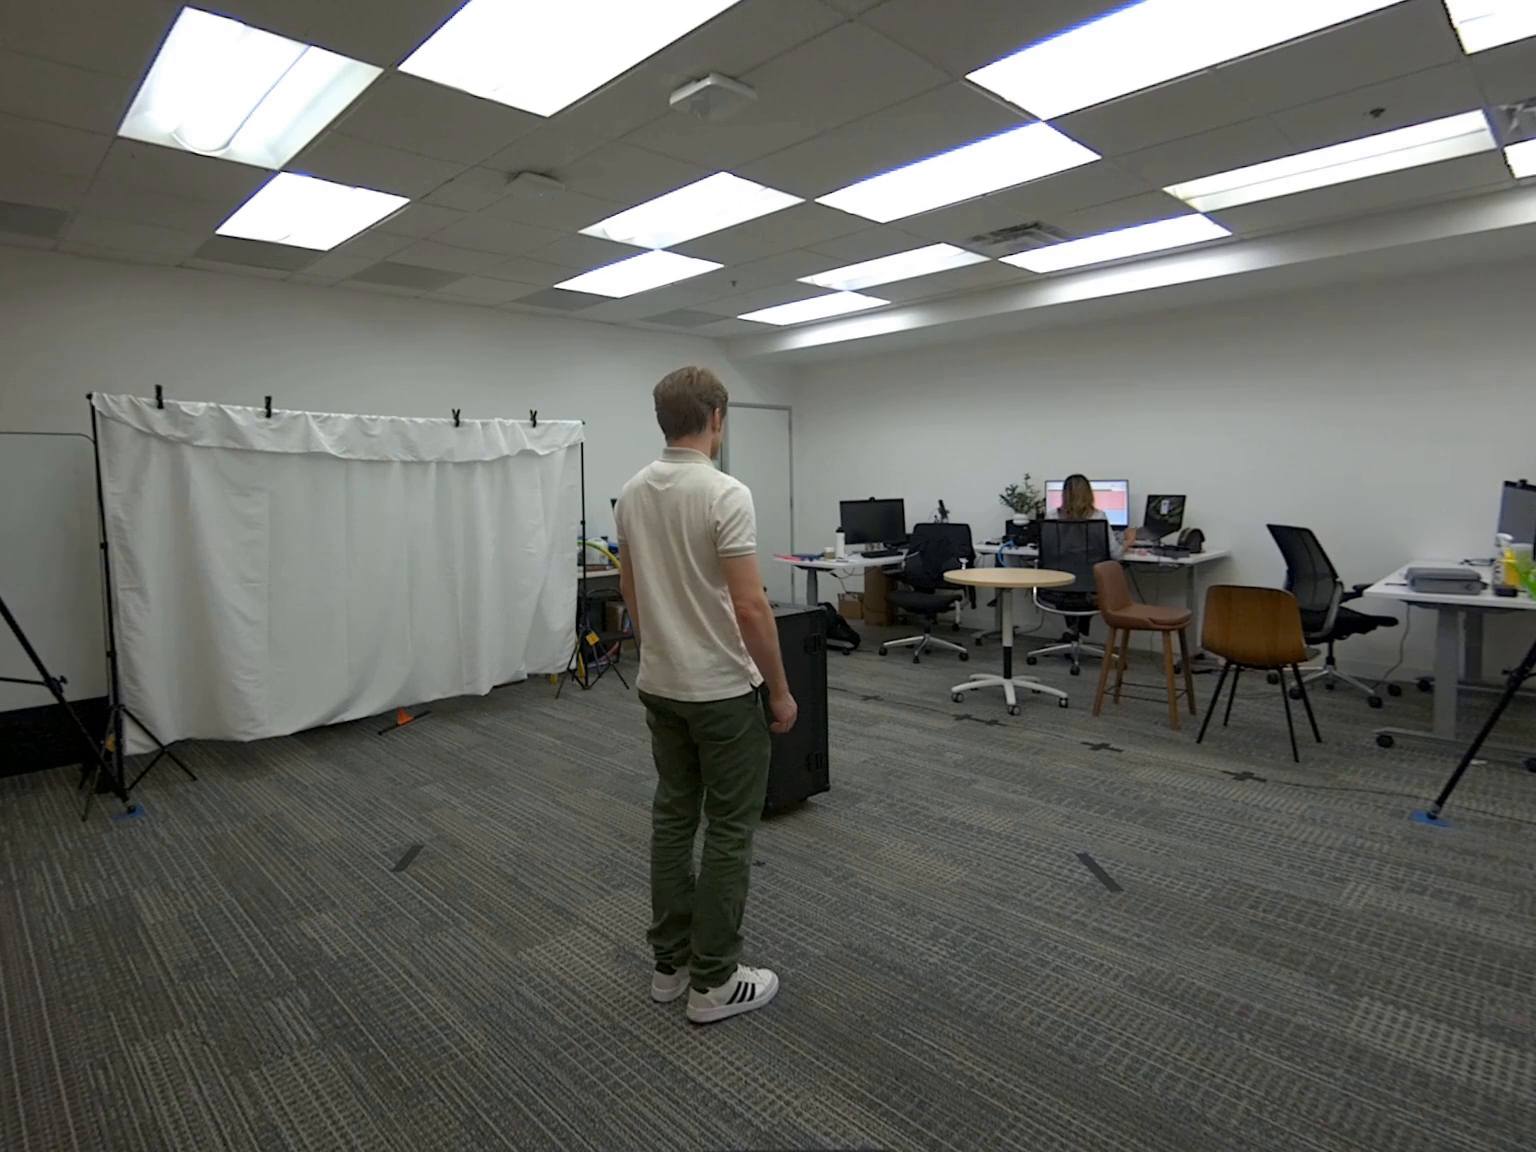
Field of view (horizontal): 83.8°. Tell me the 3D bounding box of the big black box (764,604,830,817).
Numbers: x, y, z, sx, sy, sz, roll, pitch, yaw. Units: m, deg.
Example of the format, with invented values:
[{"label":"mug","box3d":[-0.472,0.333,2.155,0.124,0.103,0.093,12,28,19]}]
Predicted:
[{"label":"big black box","box3d":[-0.035,0.558,3.687,0.386,0.858,0.537,-5,6,-39]}]
